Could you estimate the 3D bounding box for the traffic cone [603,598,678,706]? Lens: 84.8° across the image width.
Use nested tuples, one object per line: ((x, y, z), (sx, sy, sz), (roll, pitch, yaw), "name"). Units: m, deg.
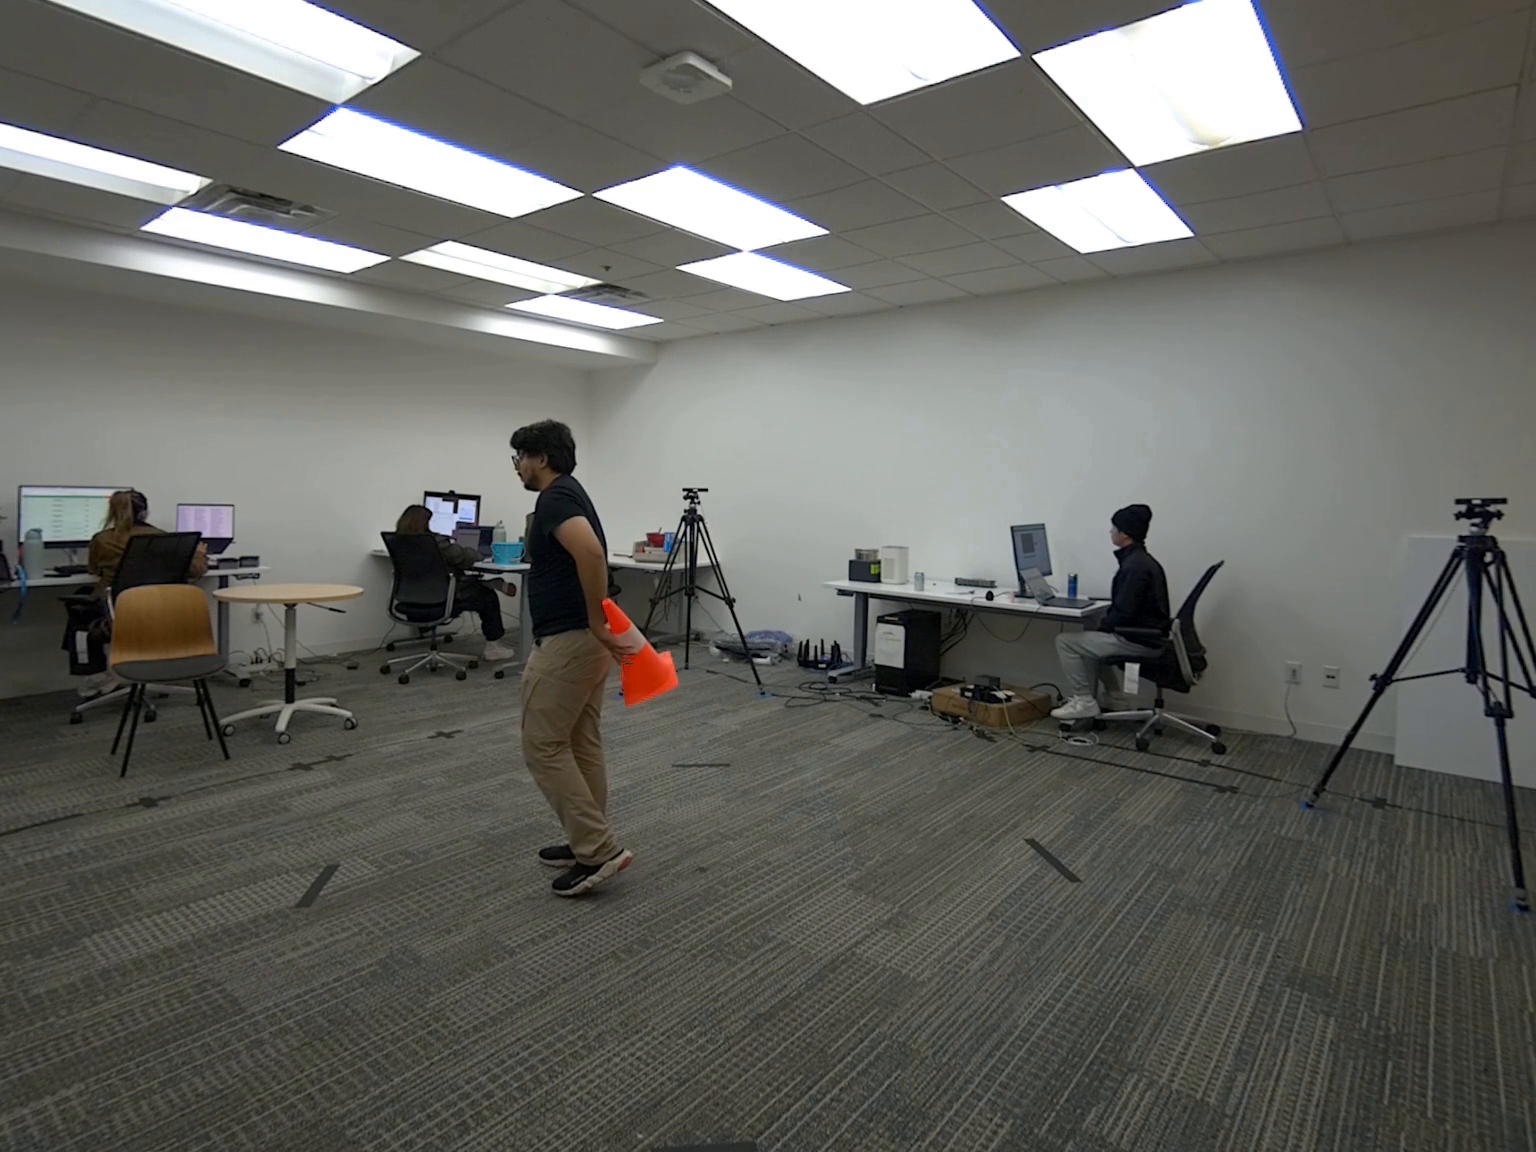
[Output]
((-0.497, 0.229, 2.885), (0.203, 0.370, 0.212), (-22, 35, 0), "traffic cone")
